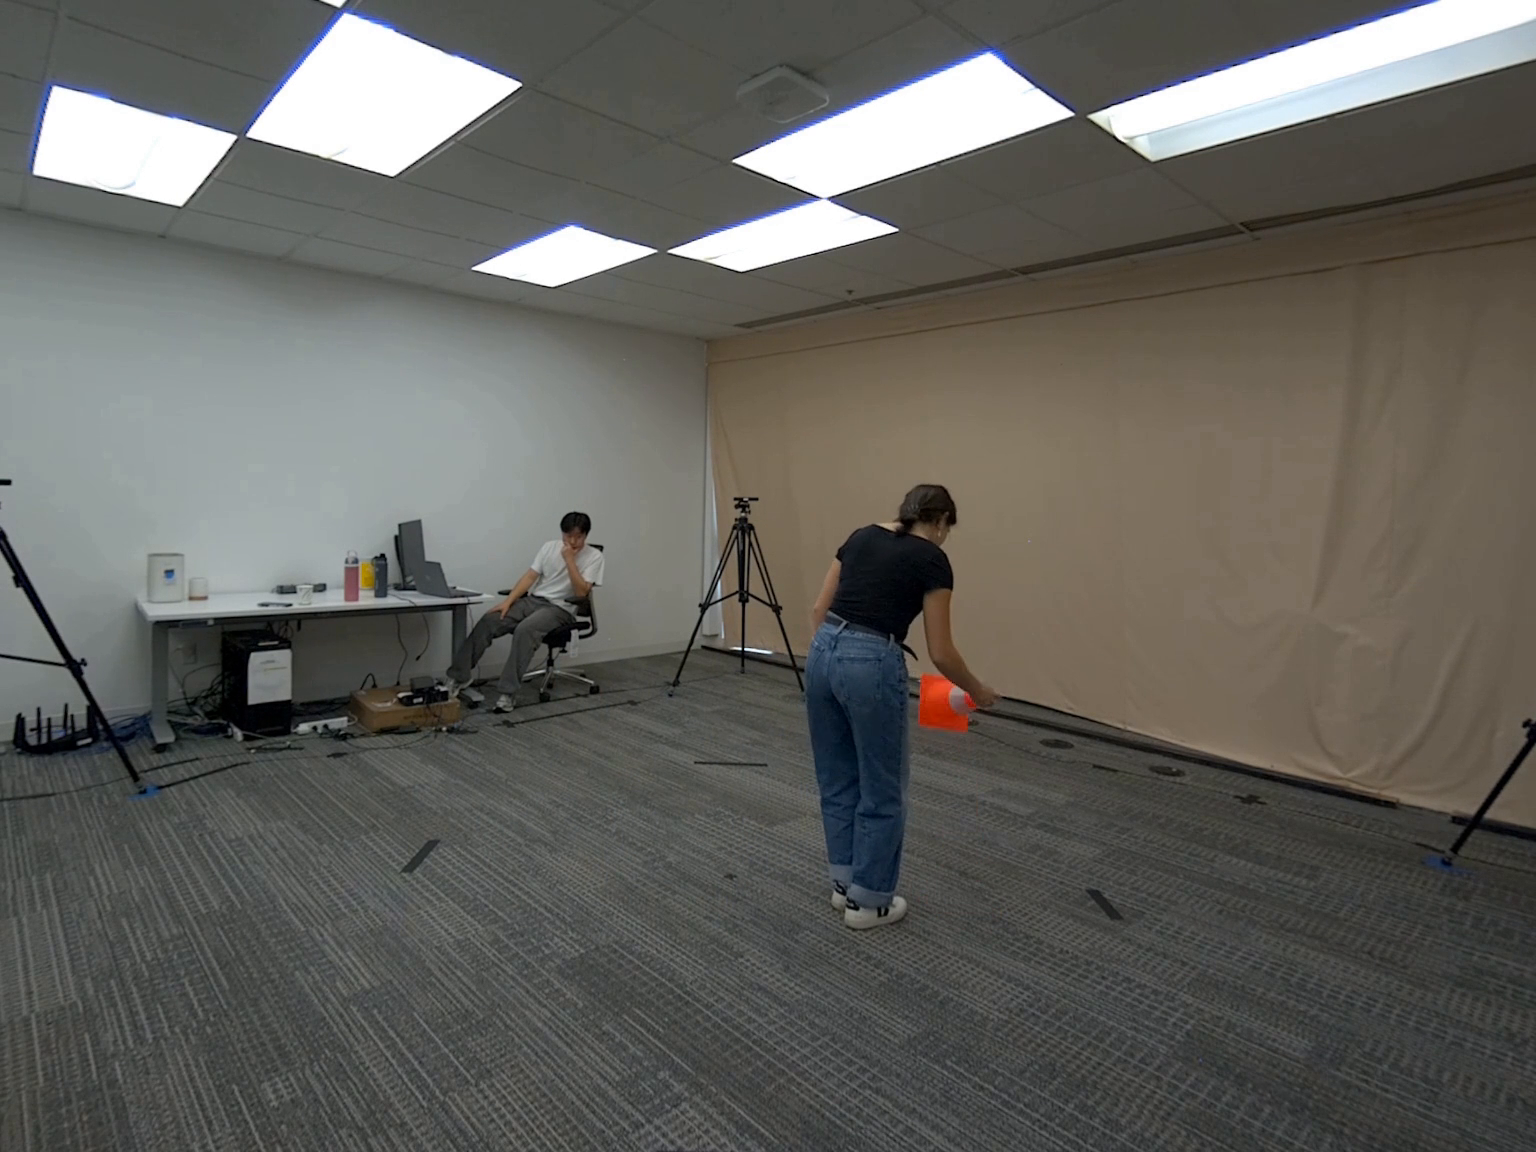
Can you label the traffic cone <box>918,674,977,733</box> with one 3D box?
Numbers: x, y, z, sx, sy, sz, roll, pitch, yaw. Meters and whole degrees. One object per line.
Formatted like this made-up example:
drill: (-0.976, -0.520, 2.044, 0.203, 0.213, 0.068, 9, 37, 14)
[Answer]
traffic cone: (0.714, 0.456, 3.016, 0.201, 0.206, 0.384, 3, -10, -11)
